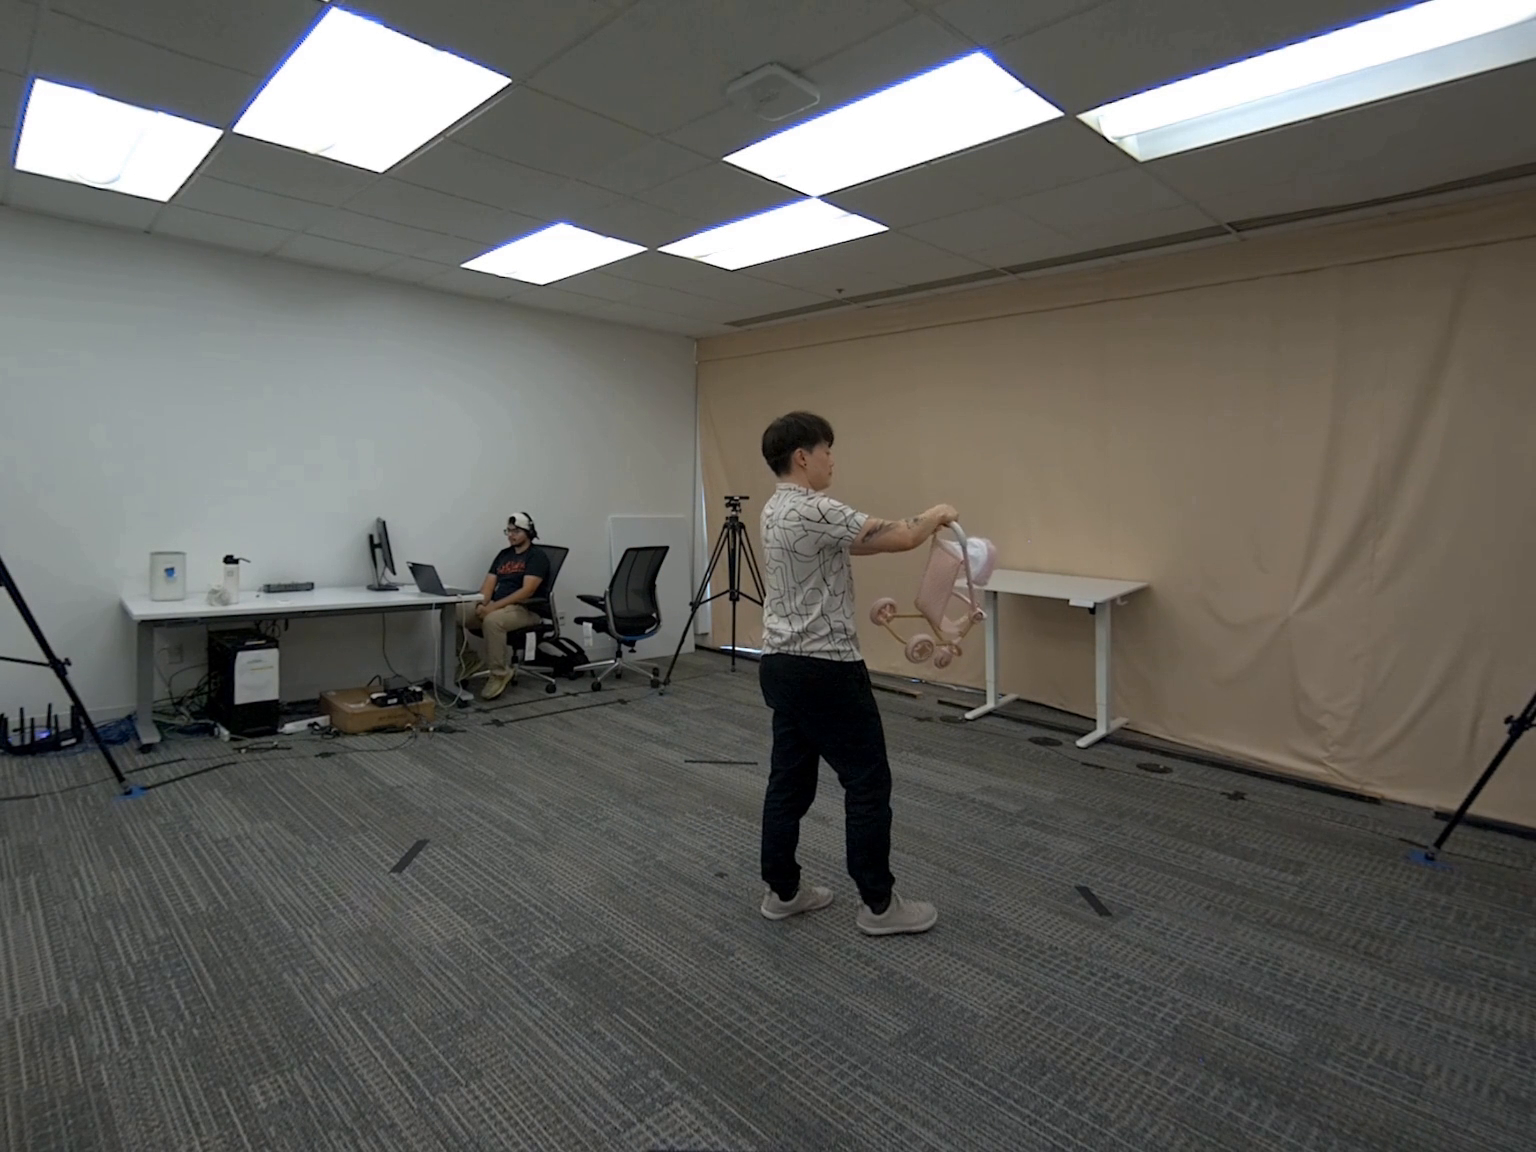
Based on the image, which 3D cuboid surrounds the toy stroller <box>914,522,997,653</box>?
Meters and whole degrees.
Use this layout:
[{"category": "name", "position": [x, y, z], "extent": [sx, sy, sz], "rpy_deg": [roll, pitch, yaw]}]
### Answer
[{"category": "toy stroller", "position": [0.612, 0.075, 2.903], "extent": [0.334, 0.532, 0.289], "rpy_deg": [16, 18, -26]}]
